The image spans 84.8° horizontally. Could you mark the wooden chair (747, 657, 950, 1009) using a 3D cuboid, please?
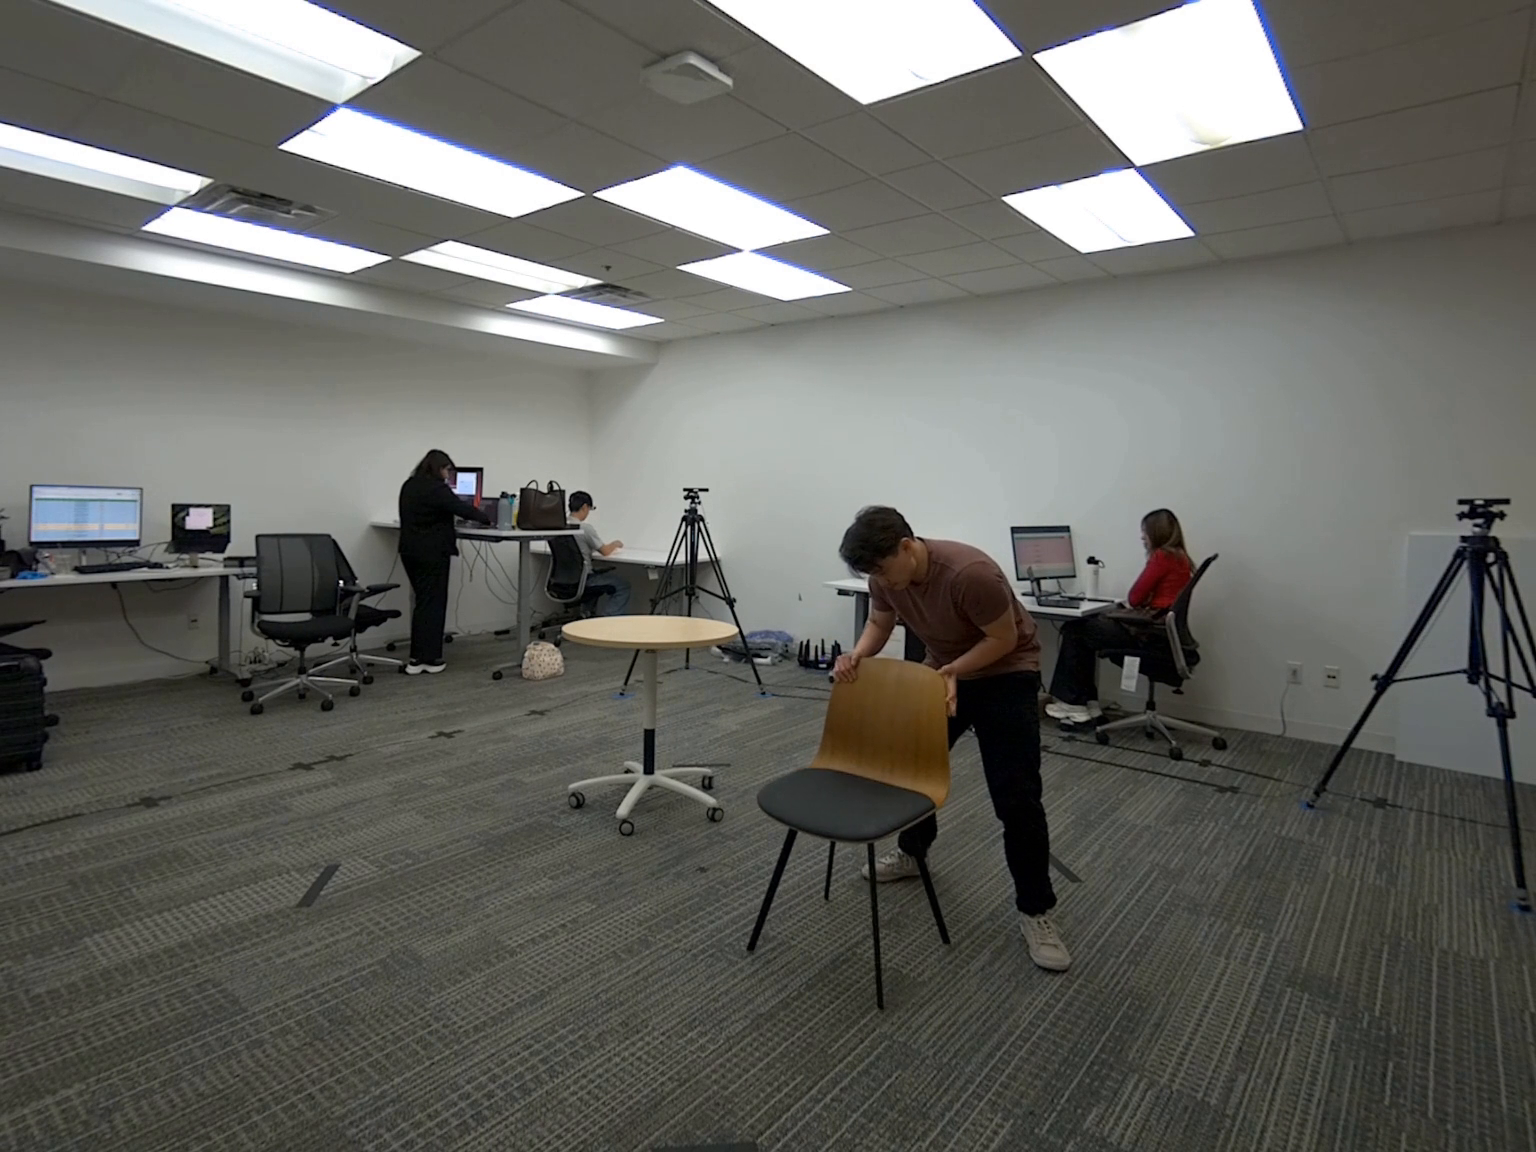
[{"bbox_3d":[0.251,0.704,2.567,0.494,0.878,0.506,4,0,36],"label":"wooden chair"}]
